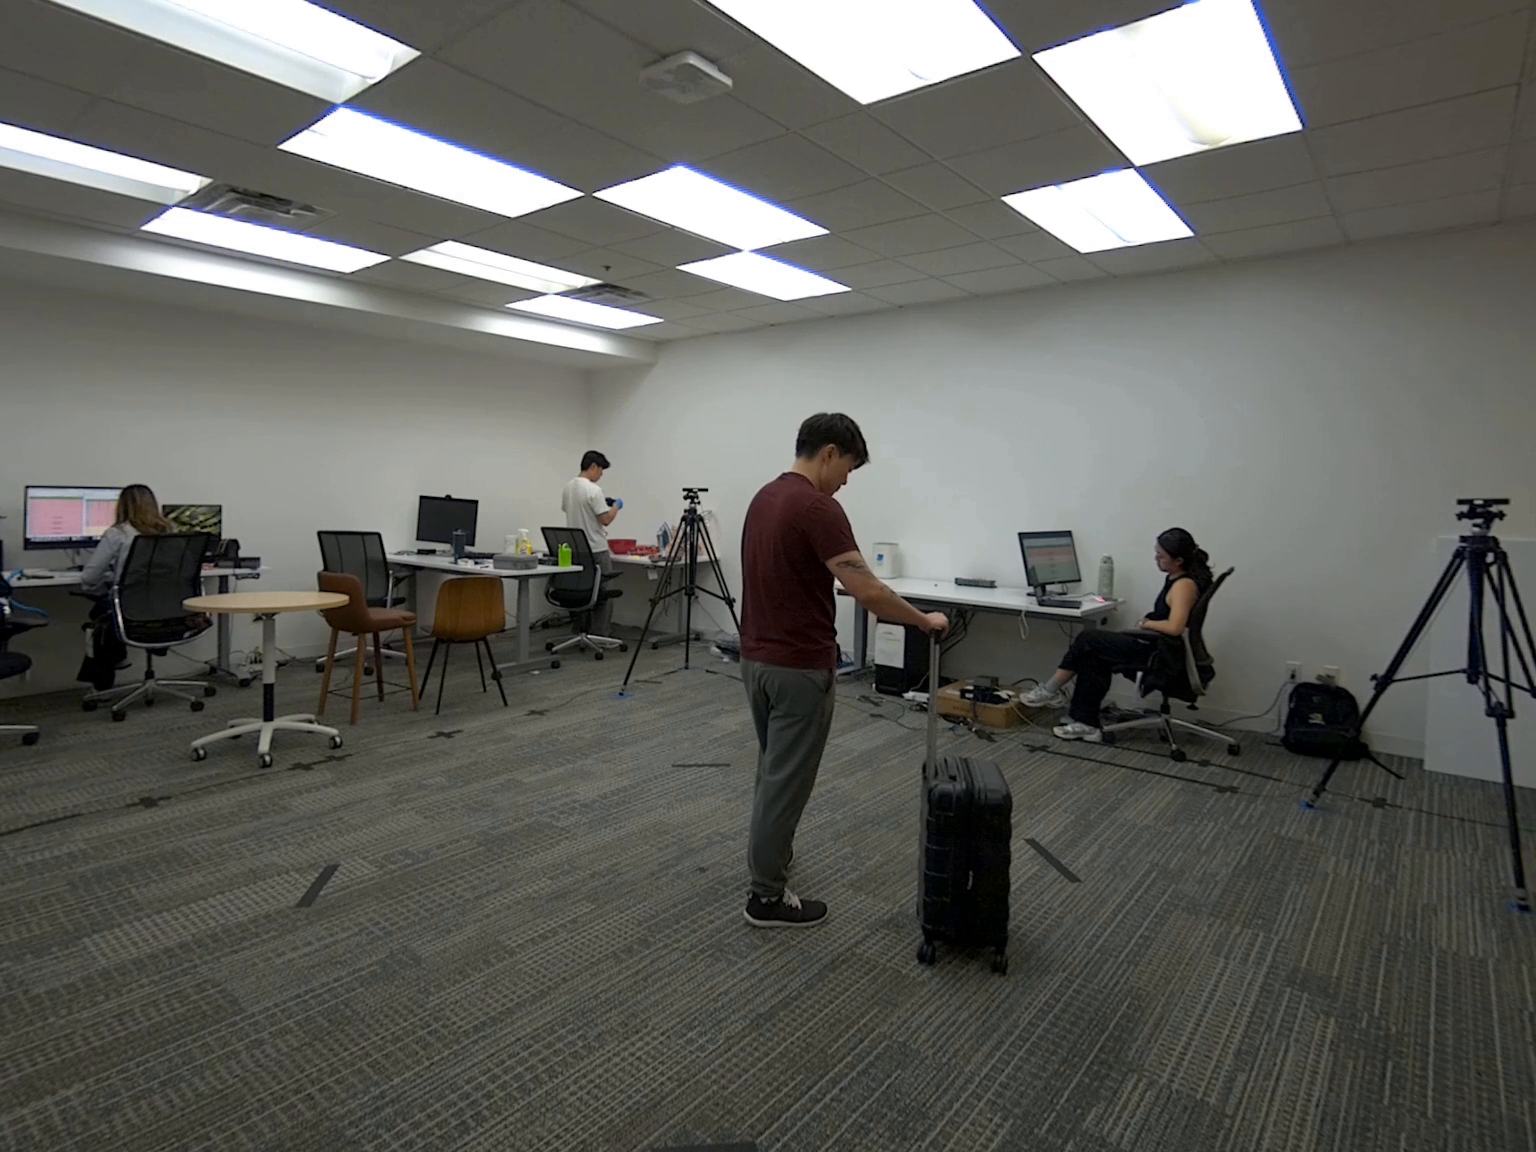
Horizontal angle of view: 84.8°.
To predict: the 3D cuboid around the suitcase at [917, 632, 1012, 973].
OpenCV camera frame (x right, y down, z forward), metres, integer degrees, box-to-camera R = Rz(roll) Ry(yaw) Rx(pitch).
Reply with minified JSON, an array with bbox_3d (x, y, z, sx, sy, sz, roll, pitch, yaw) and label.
[{"bbox_3d":[0.613,0.659,2.650,0.259,0.977,0.382,4,2,5],"label":"suitcase"}]
